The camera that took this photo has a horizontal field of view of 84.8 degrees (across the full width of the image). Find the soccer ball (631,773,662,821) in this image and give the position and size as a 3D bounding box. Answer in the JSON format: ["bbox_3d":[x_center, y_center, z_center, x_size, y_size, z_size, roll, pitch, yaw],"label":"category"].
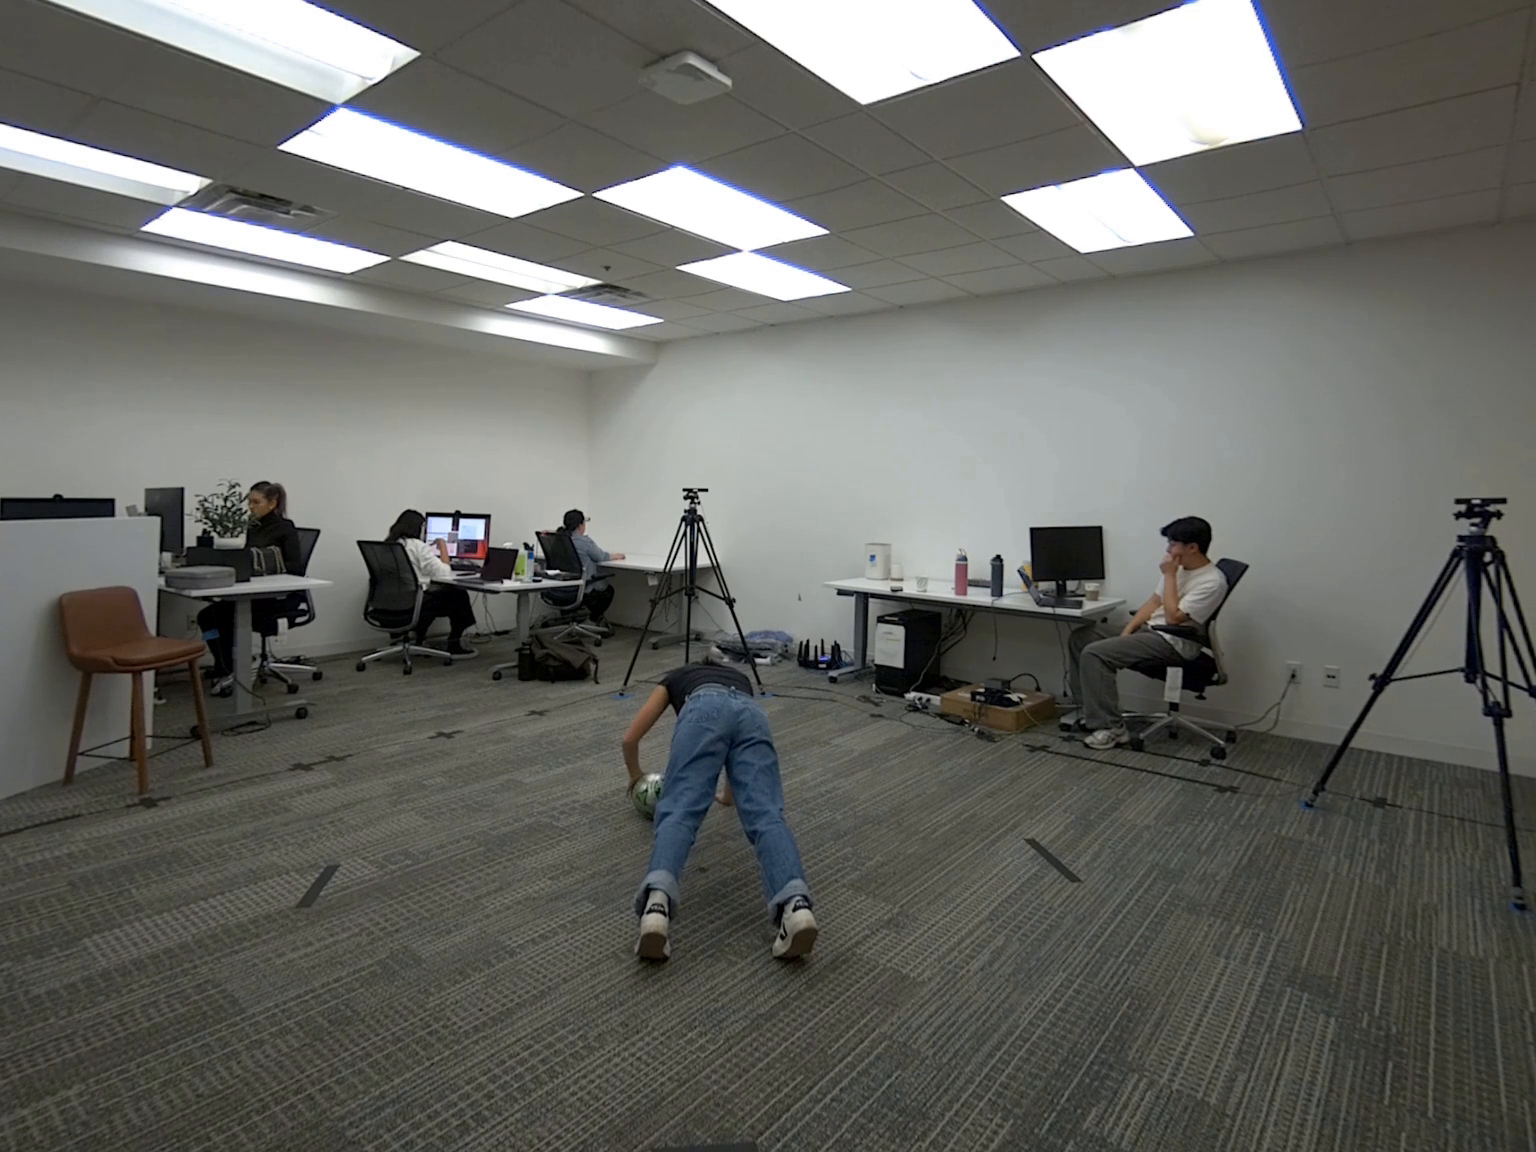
[{"bbox_3d":[-0.476,0.923,3.591,0.187,0.187,0.188,1,4,-2],"label":"soccer ball"}]
